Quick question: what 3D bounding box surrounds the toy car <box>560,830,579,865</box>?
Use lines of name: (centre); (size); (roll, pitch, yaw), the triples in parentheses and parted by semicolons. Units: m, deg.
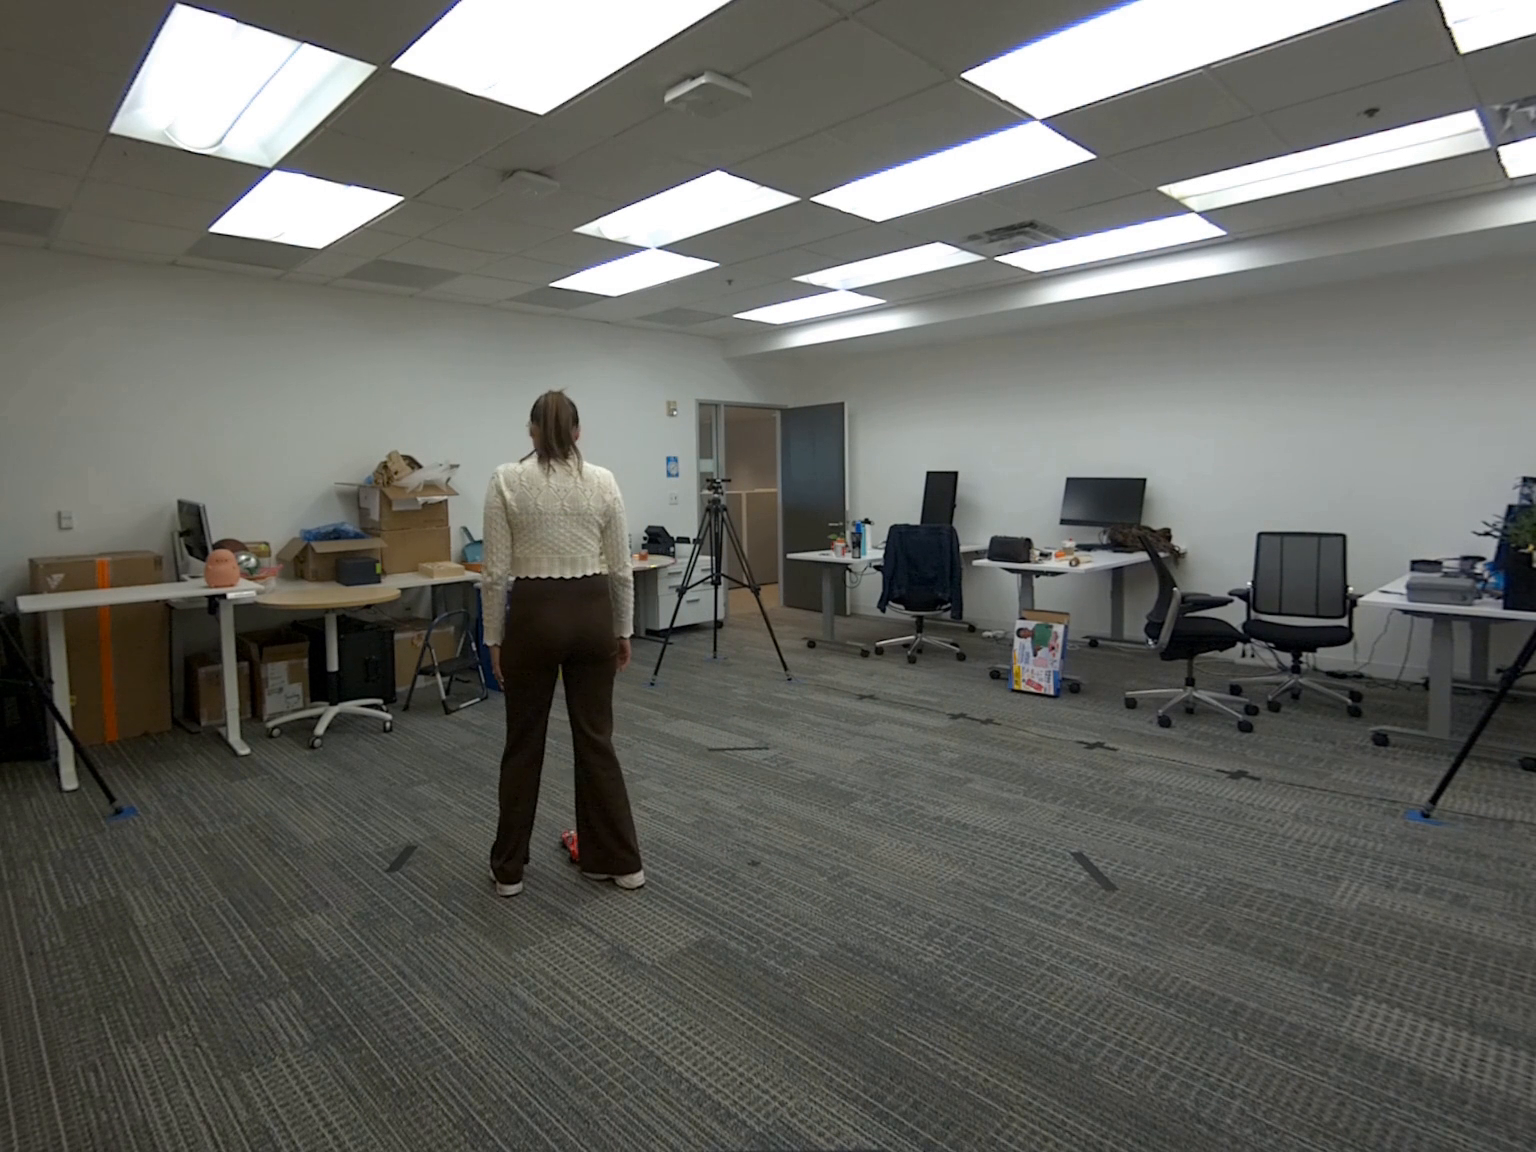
toy car: (-0.700, 1.013, 3.207); (0.128, 0.083, 0.258); (-6, -3, -24)
